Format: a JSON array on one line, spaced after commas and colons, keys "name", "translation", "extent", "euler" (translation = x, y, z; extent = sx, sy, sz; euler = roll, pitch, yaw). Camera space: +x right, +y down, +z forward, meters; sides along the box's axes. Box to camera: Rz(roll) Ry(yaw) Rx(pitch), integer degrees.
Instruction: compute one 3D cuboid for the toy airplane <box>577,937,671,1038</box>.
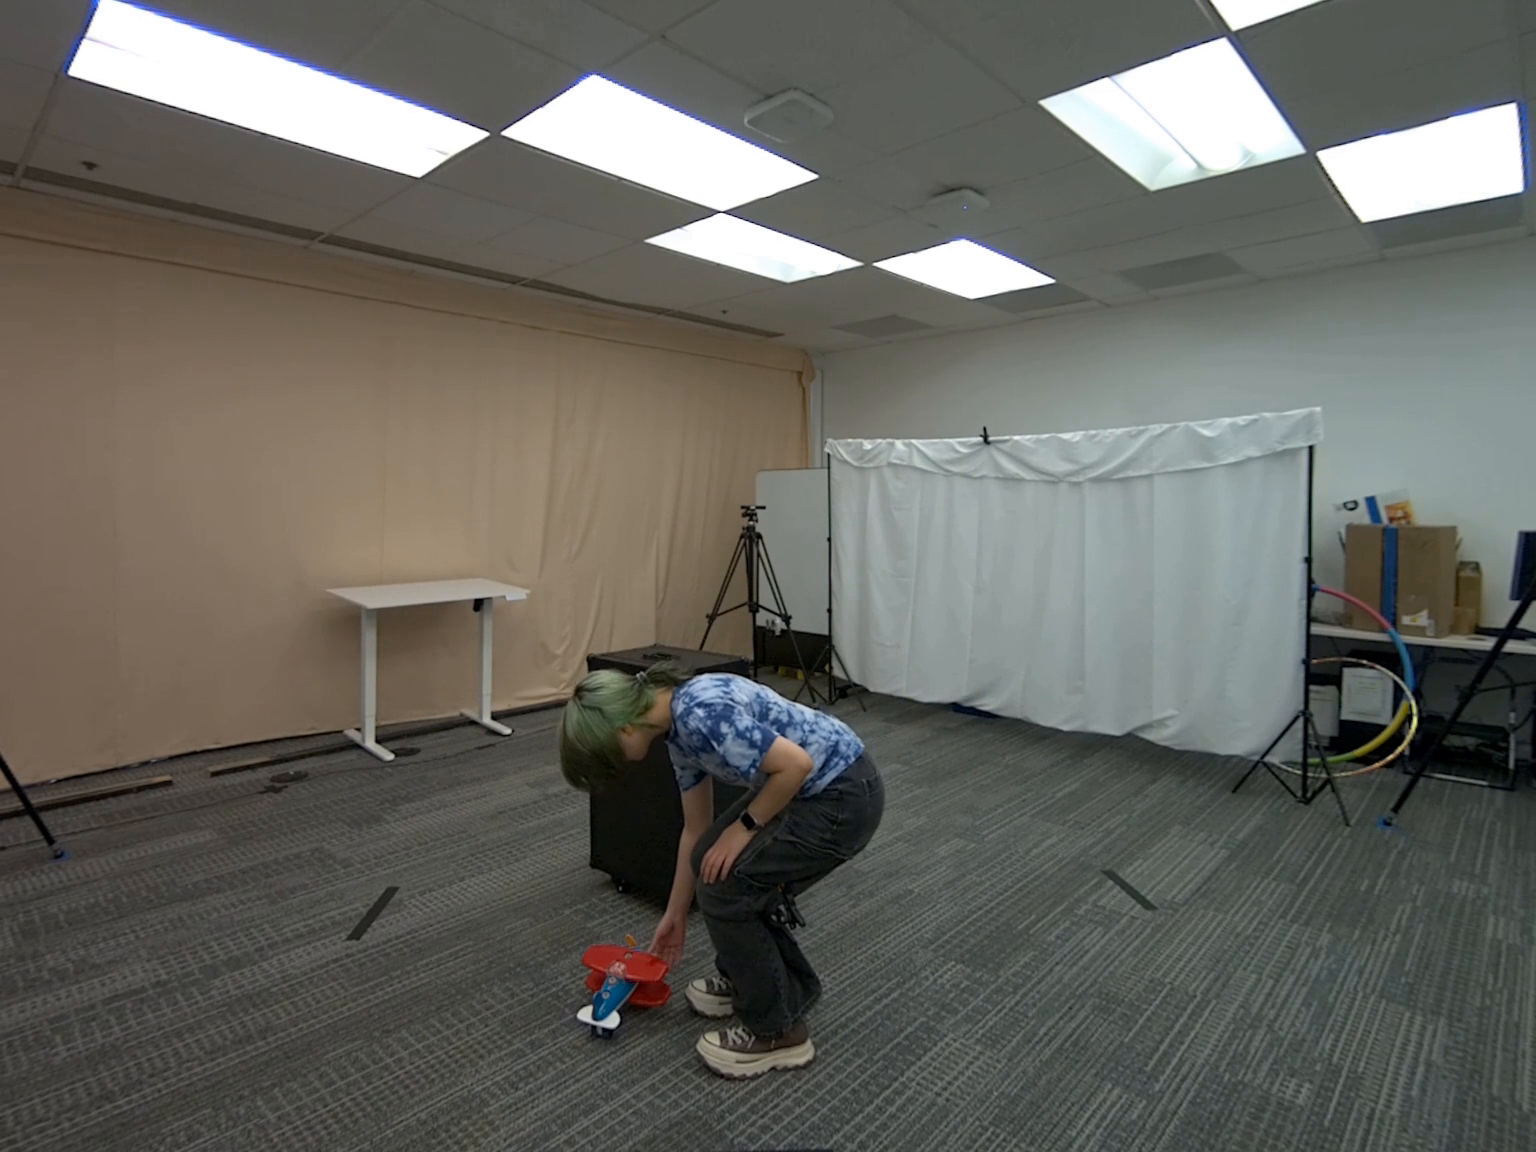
[{"name": "toy airplane", "translation": [-0.393, 1.128, 2.293], "extent": [0.250, 0.156, 0.261], "euler": [2, 3, -4]}]
